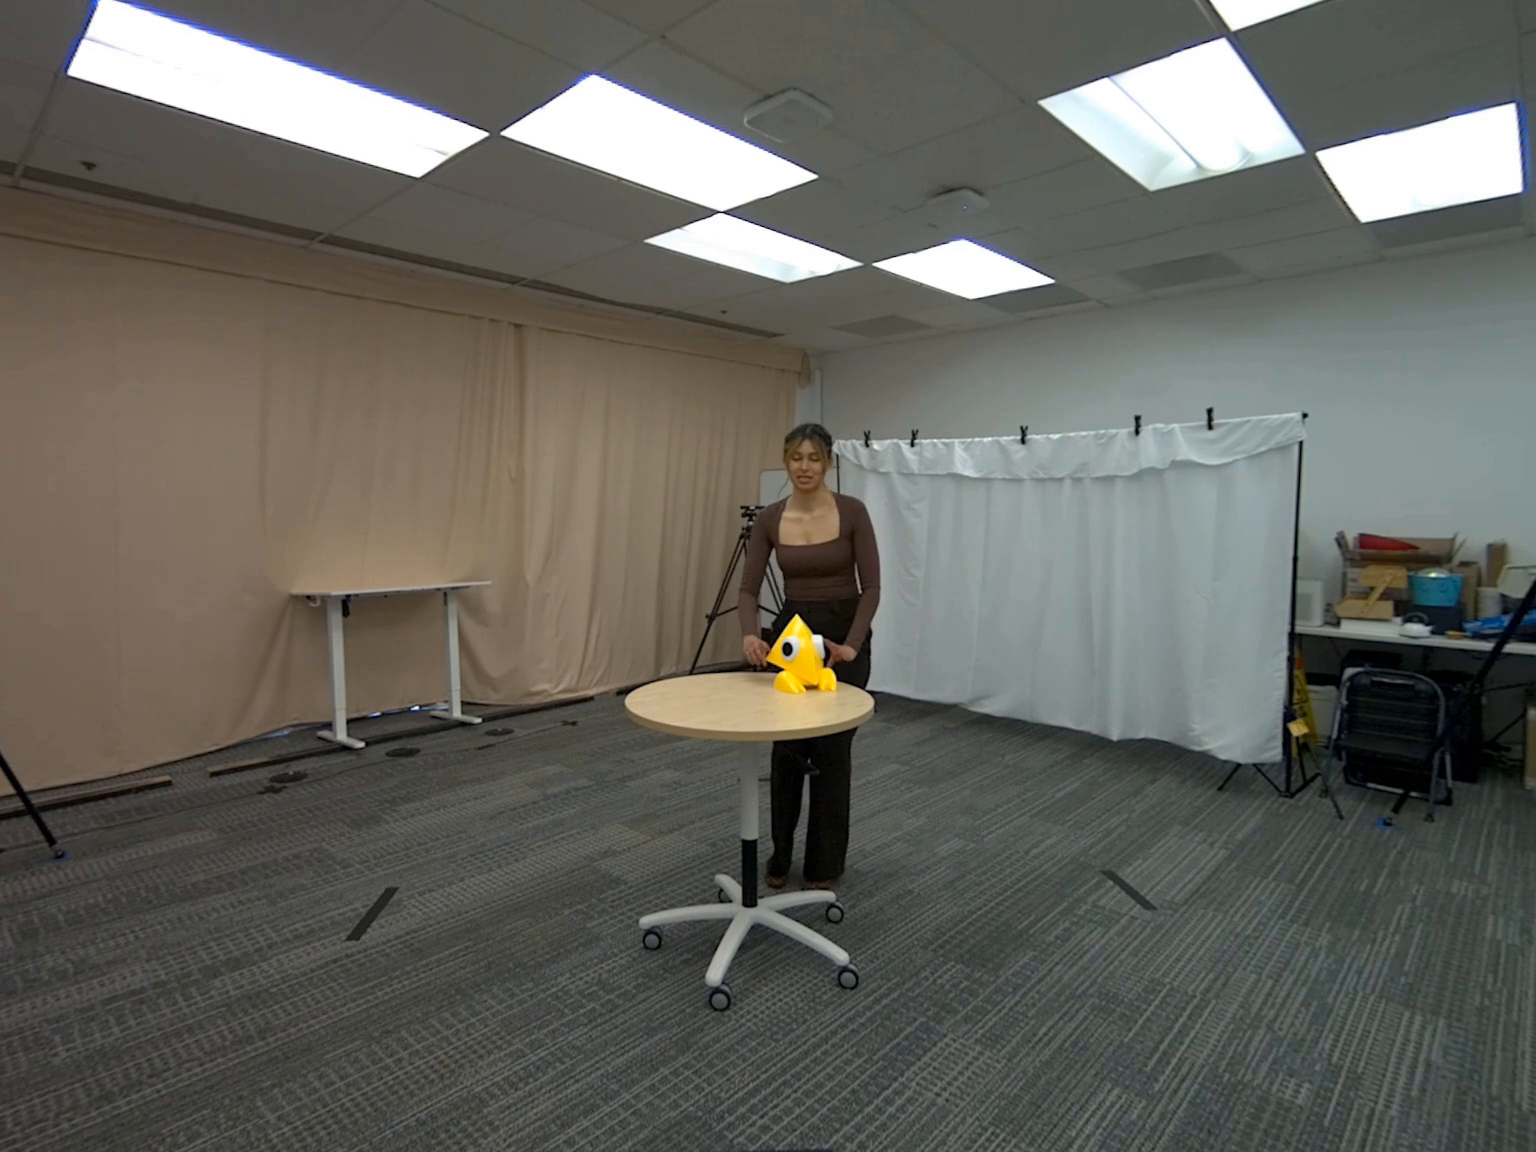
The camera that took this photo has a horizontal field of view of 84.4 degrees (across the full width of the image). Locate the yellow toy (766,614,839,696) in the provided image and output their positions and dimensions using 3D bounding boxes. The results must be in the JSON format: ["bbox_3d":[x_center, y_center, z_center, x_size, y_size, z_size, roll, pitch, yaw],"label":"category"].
[{"bbox_3d":[0.117,0.250,2.764,0.201,0.230,0.197,-2,4,-19],"label":"yellow toy"}]
